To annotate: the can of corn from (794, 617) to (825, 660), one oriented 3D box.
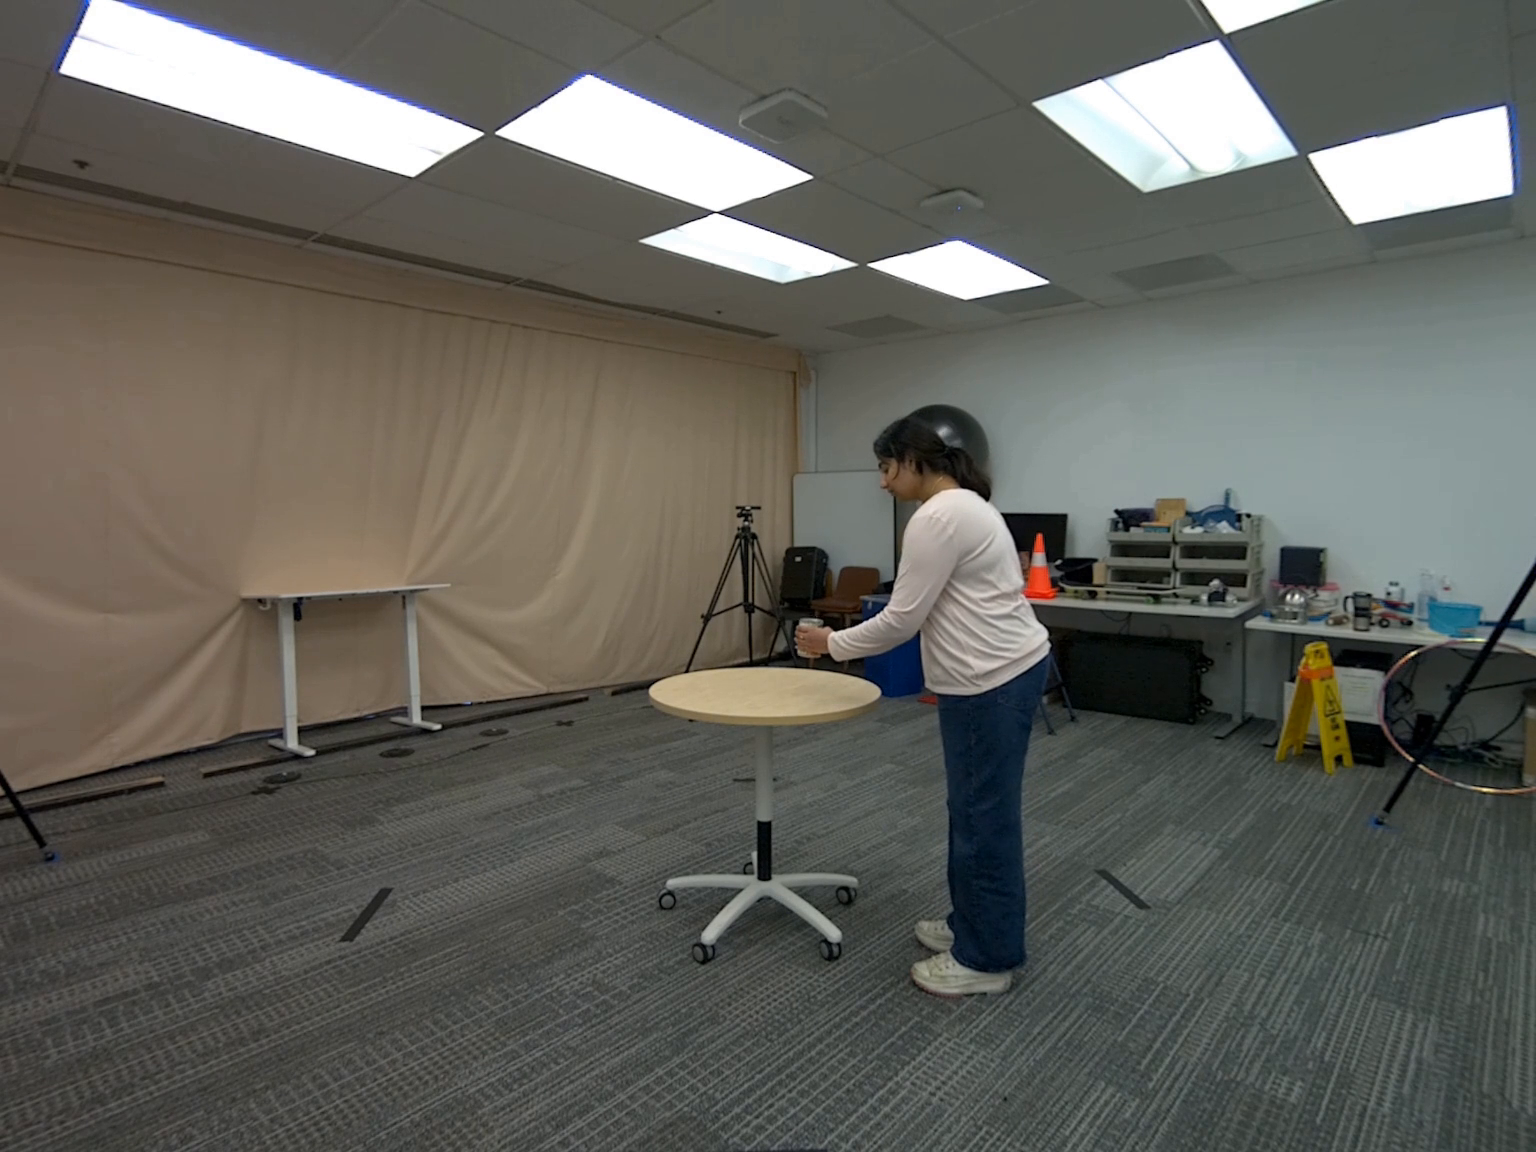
[{"bbox_3d":[0.142,0.198,2.667,0.074,0.111,0.074,3,6,-2],"label":"can of corn"}]
